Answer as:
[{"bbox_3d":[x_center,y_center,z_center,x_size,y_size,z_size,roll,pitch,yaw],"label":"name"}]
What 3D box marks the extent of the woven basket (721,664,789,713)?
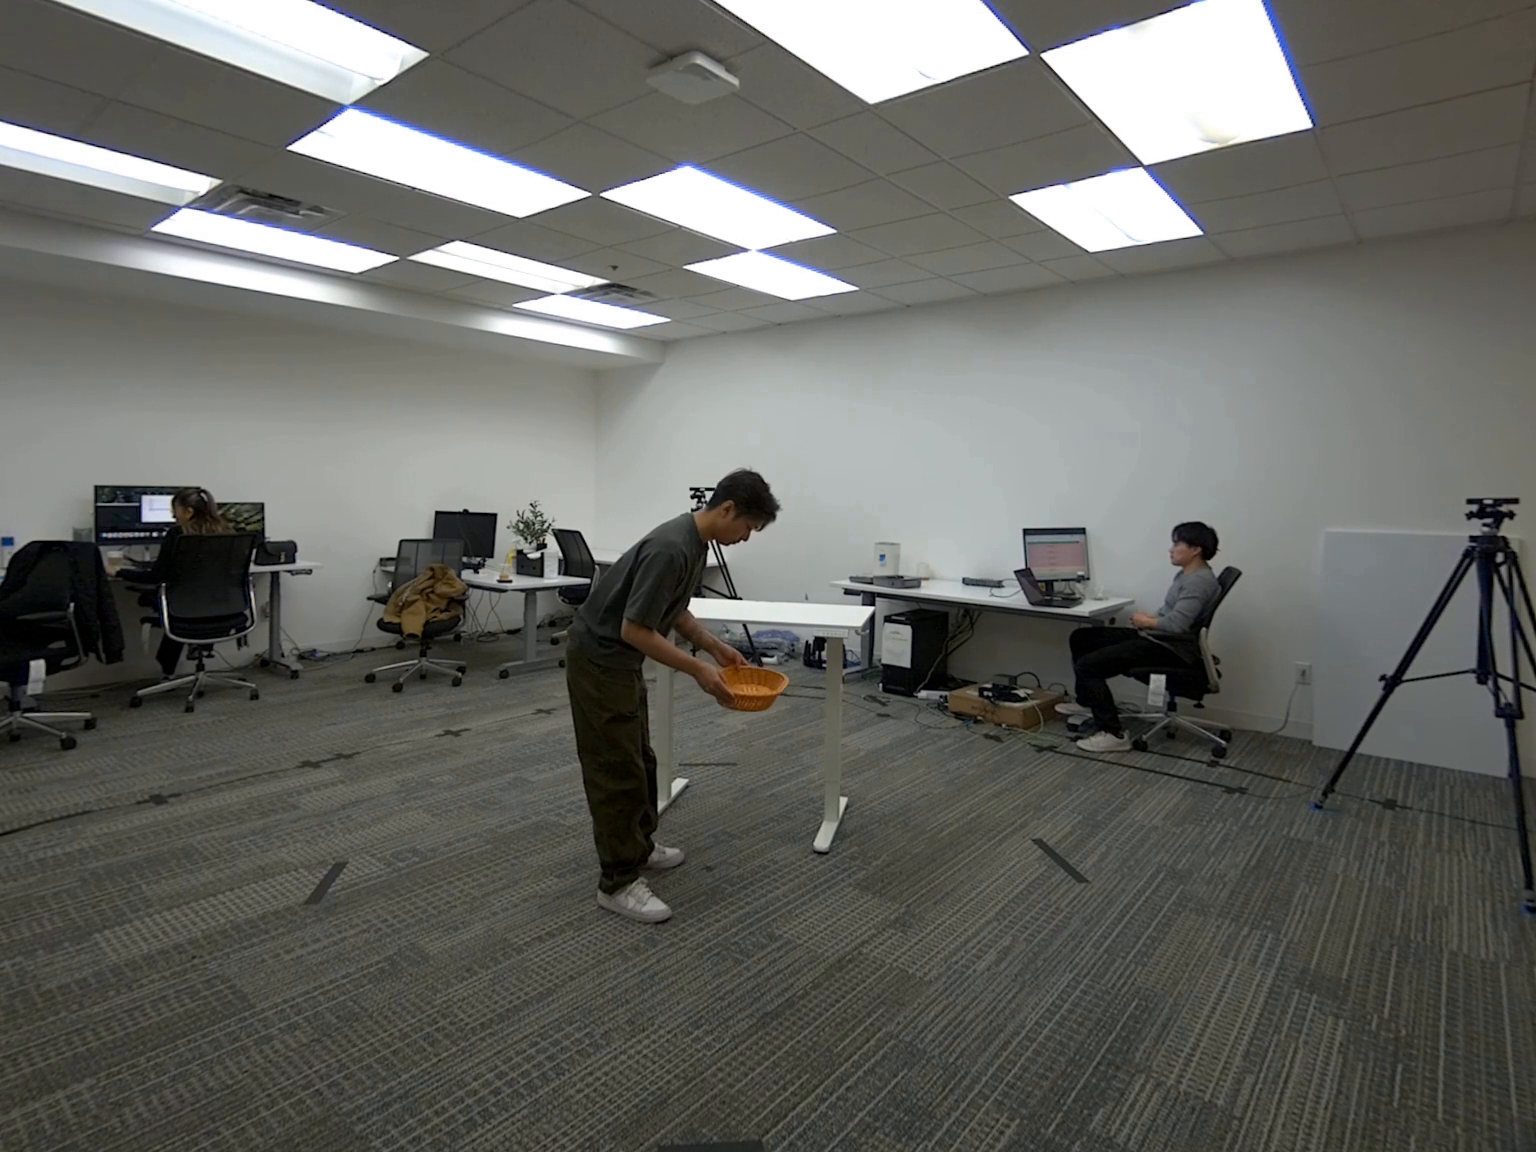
[{"bbox_3d":[-0.089,0.381,2.841,0.258,0.073,0.345,8,9,18],"label":"woven basket"}]
